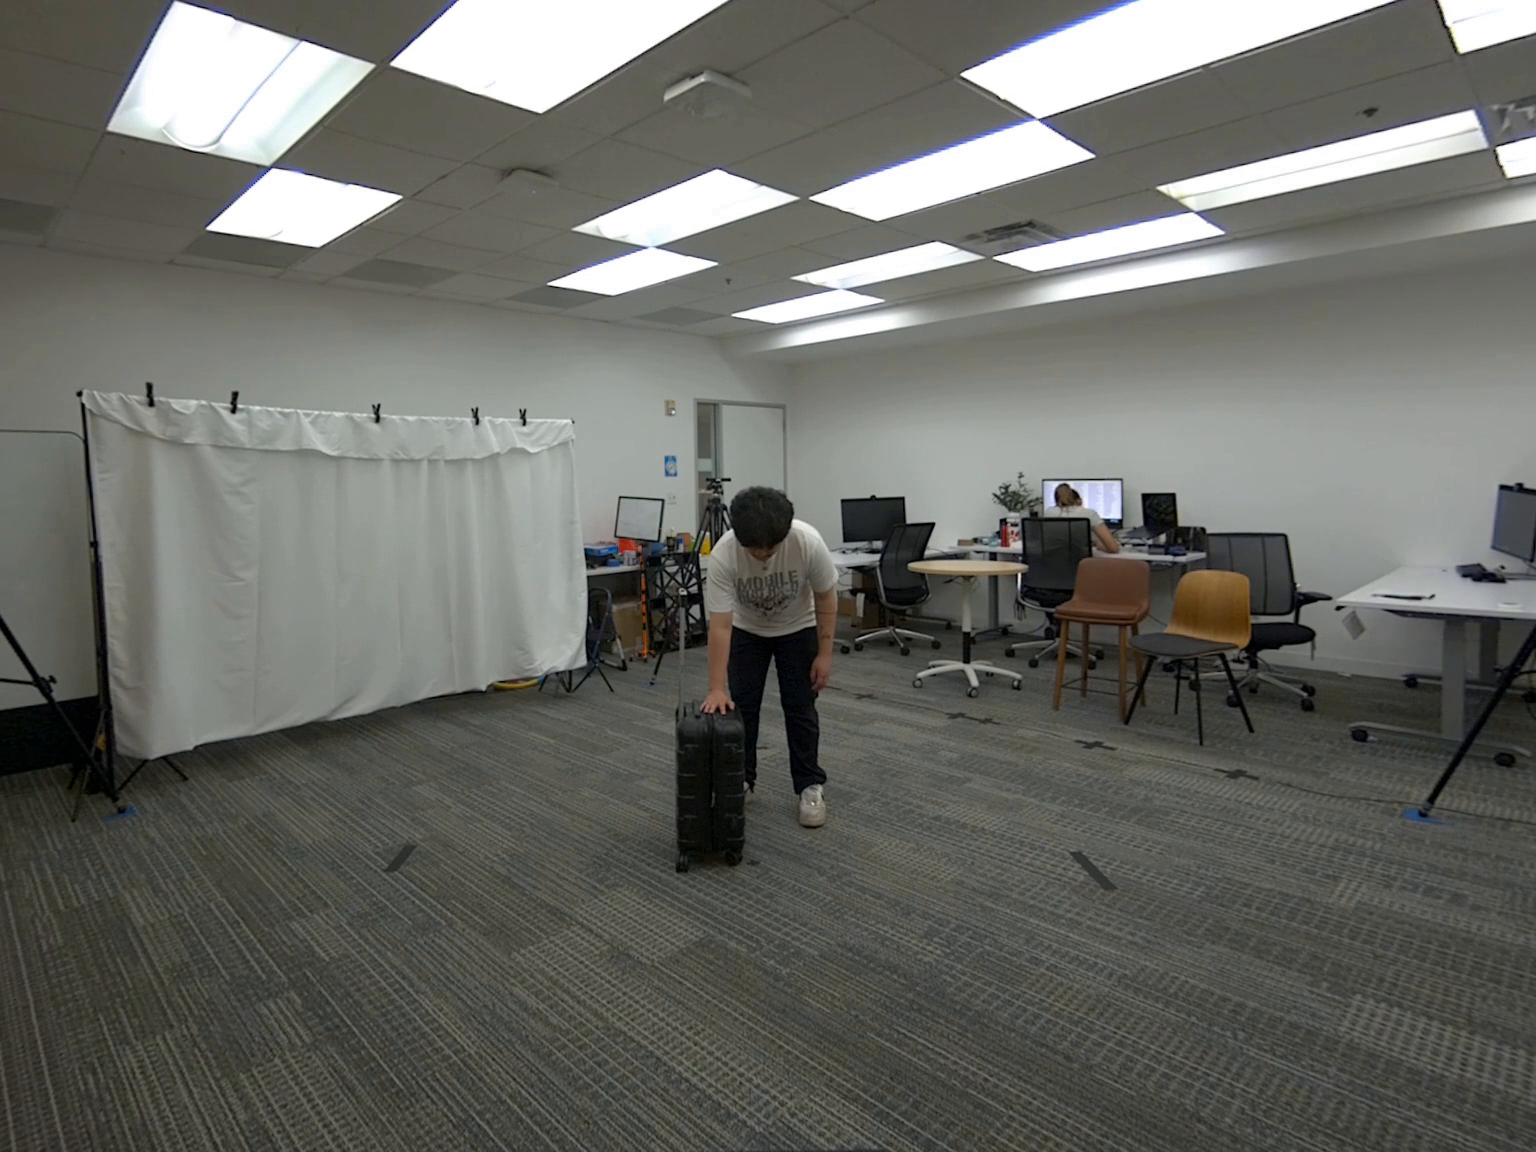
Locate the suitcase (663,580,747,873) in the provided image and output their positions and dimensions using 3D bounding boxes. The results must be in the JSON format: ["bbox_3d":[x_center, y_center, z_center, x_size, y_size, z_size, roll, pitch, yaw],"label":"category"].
[{"bbox_3d":[-0.220,0.561,3.201,0.256,0.975,0.387,2,4,-5],"label":"suitcase"}]
